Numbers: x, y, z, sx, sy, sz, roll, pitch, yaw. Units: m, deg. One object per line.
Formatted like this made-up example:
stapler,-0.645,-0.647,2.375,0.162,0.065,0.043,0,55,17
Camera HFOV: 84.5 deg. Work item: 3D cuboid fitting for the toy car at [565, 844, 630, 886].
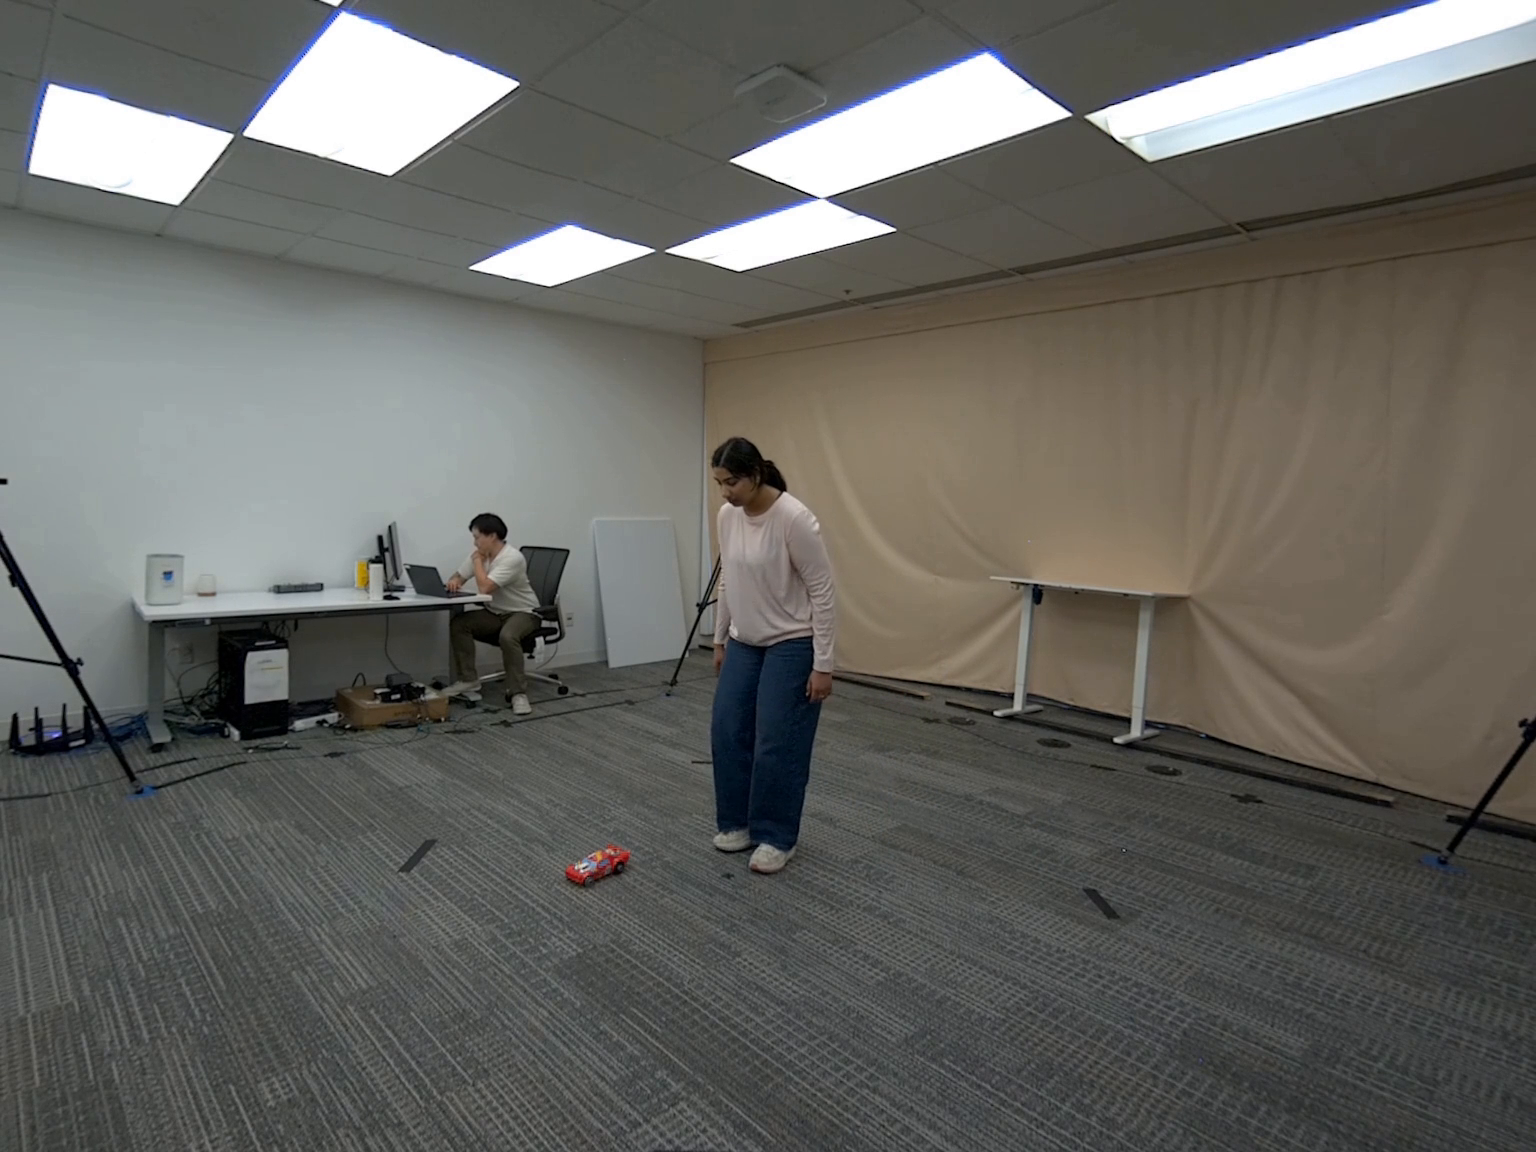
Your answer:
toy car,-0.629,1.065,3.091,0.133,0.082,0.251,5,18,40
